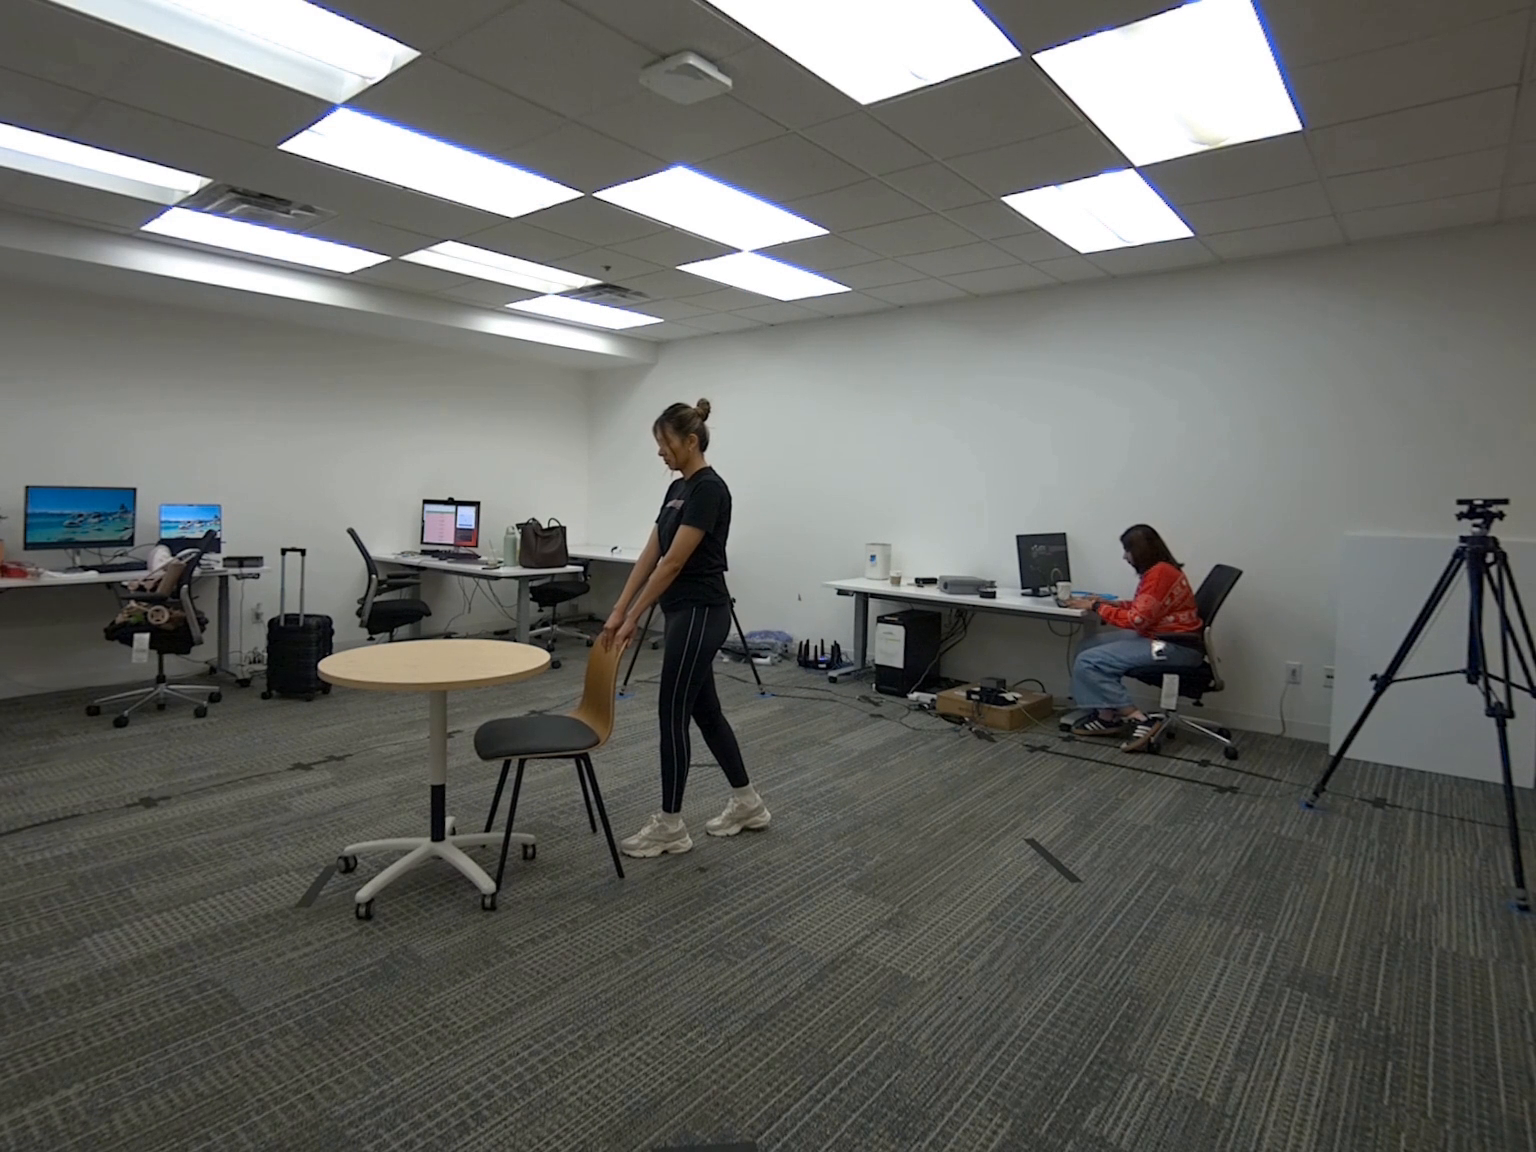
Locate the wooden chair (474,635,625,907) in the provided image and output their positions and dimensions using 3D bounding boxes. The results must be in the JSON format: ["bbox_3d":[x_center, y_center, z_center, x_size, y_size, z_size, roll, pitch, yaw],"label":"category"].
[{"bbox_3d":[-0.817,0.632,3.122,0.511,0.876,0.490,4,2,-23],"label":"wooden chair"}]
